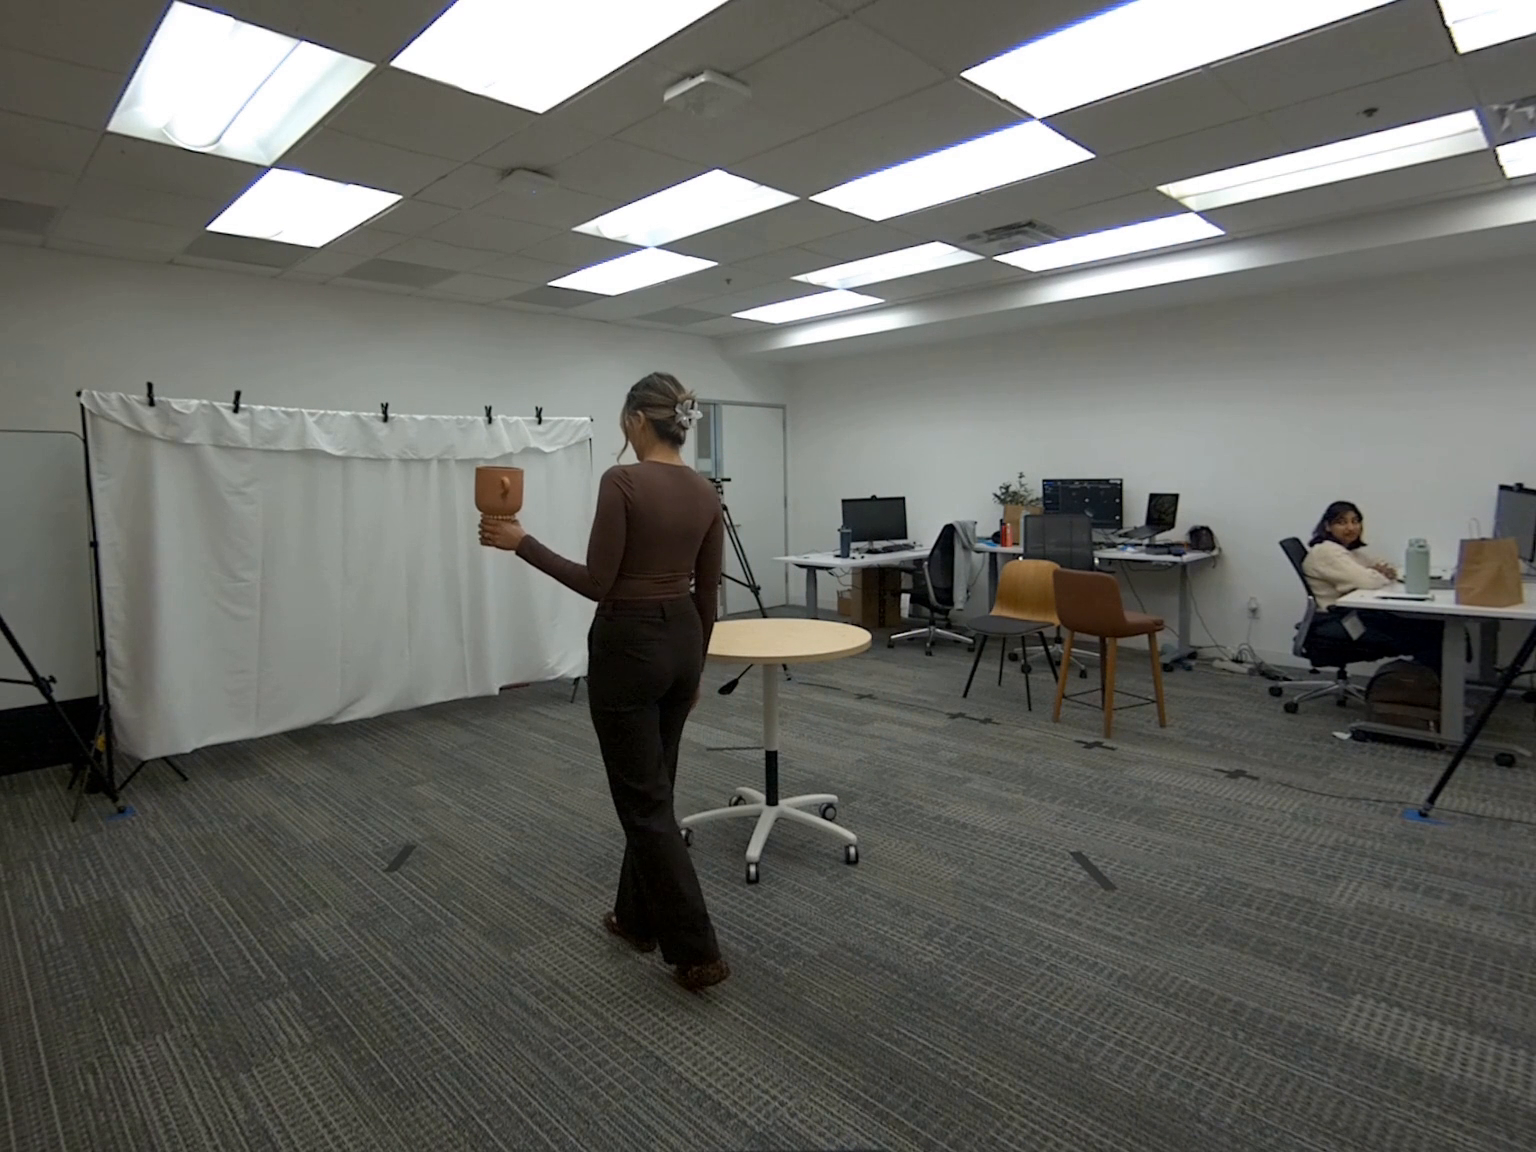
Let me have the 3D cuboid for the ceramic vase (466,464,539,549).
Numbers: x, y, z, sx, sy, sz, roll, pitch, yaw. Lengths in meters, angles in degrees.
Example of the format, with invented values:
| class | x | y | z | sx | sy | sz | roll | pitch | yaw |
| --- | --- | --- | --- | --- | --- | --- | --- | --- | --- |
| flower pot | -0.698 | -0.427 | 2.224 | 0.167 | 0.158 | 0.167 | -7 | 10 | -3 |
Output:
| class | x | y | z | sx | sy | sz | roll | pitch | yaw |
| --- | --- | --- | --- | --- | --- | --- | --- | --- | --- |
| ceramic vase | -0.744 | -0.199 | 2.402 | 0.136 | 0.218 | 0.158 | 5 | 7 | 8 |
